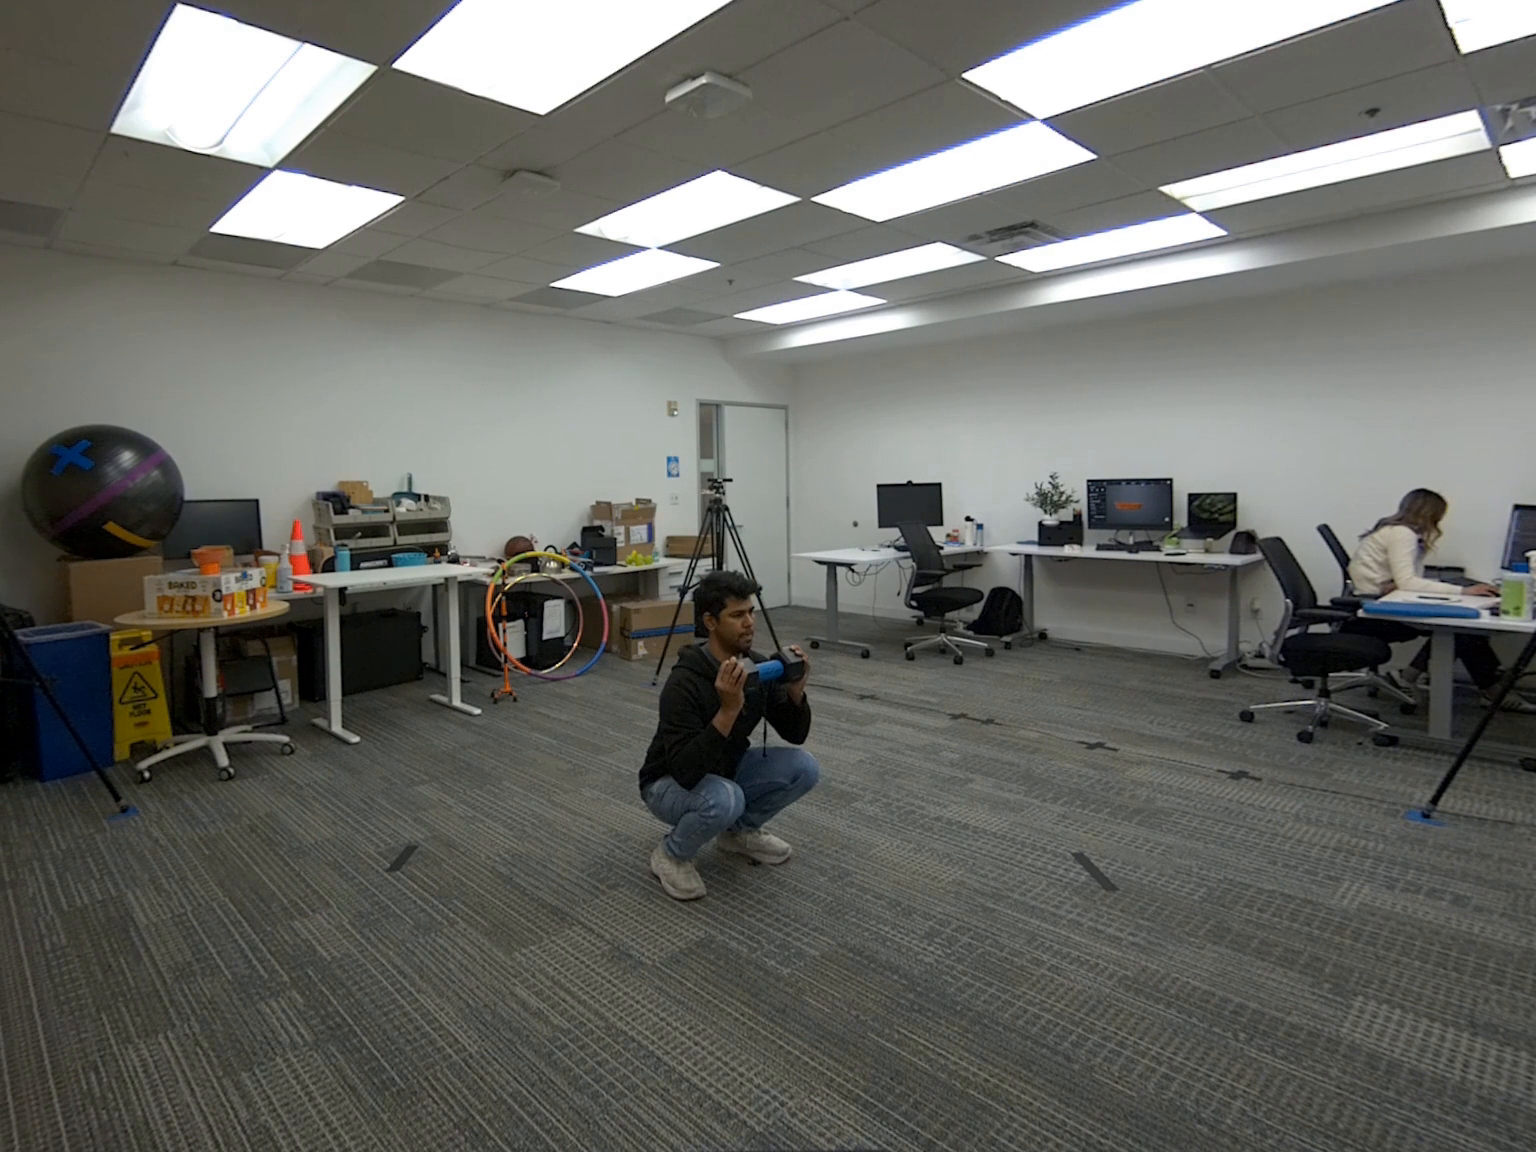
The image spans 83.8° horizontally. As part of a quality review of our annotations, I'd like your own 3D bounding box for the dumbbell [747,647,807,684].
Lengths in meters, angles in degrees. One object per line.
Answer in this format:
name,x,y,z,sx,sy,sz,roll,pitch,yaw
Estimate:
dumbbell,-0.020,0.310,2.827,0.286,0.122,0.112,-5,9,-44
